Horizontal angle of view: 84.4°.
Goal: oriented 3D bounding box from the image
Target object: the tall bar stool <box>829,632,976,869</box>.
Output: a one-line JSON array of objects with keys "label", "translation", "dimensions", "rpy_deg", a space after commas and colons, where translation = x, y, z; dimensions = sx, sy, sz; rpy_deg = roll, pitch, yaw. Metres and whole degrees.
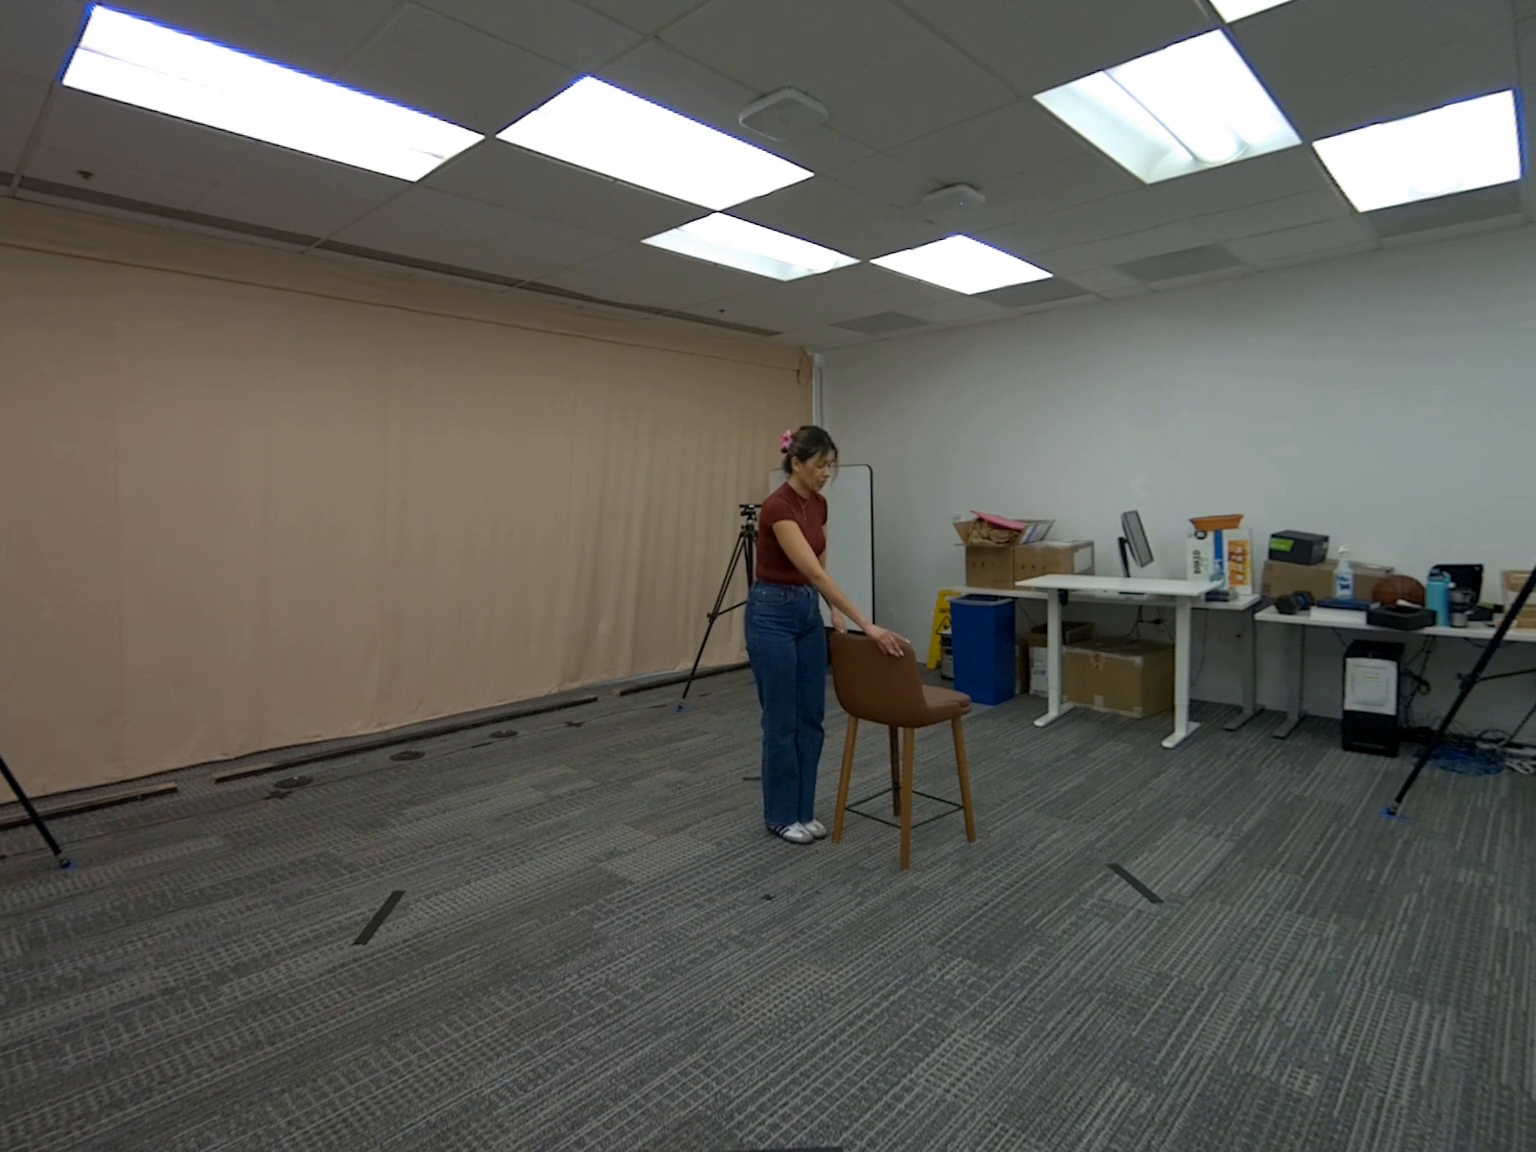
[{"label": "tall bar stool", "translation": [0.552, 0.658, 3.437], "dimensions": [0.454, 0.887, 0.471], "rpy_deg": [-5, 5, -40]}]
